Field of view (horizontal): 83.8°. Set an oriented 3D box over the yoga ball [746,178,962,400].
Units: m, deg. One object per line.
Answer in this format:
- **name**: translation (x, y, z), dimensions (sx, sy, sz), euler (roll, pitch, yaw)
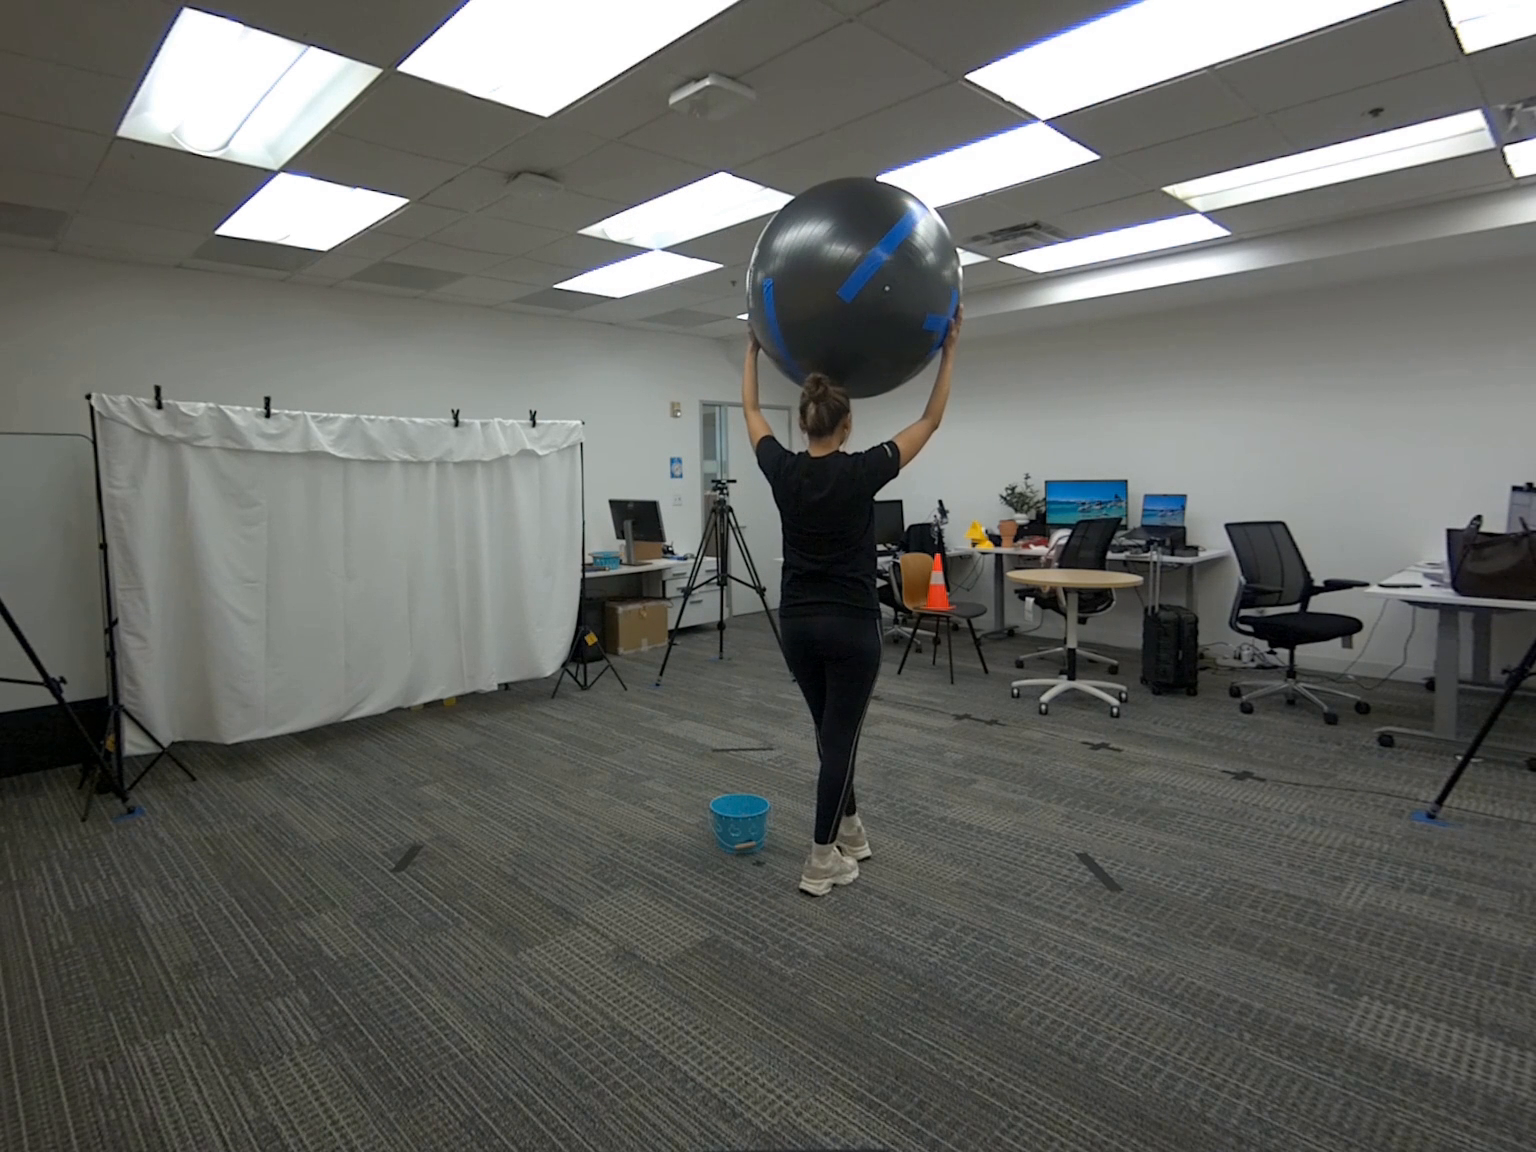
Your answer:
- **yoga ball**: translation (0.301, -1.007, 3.049), dimensions (0.757, 0.755, 0.762), euler (-1, 5, -2)
